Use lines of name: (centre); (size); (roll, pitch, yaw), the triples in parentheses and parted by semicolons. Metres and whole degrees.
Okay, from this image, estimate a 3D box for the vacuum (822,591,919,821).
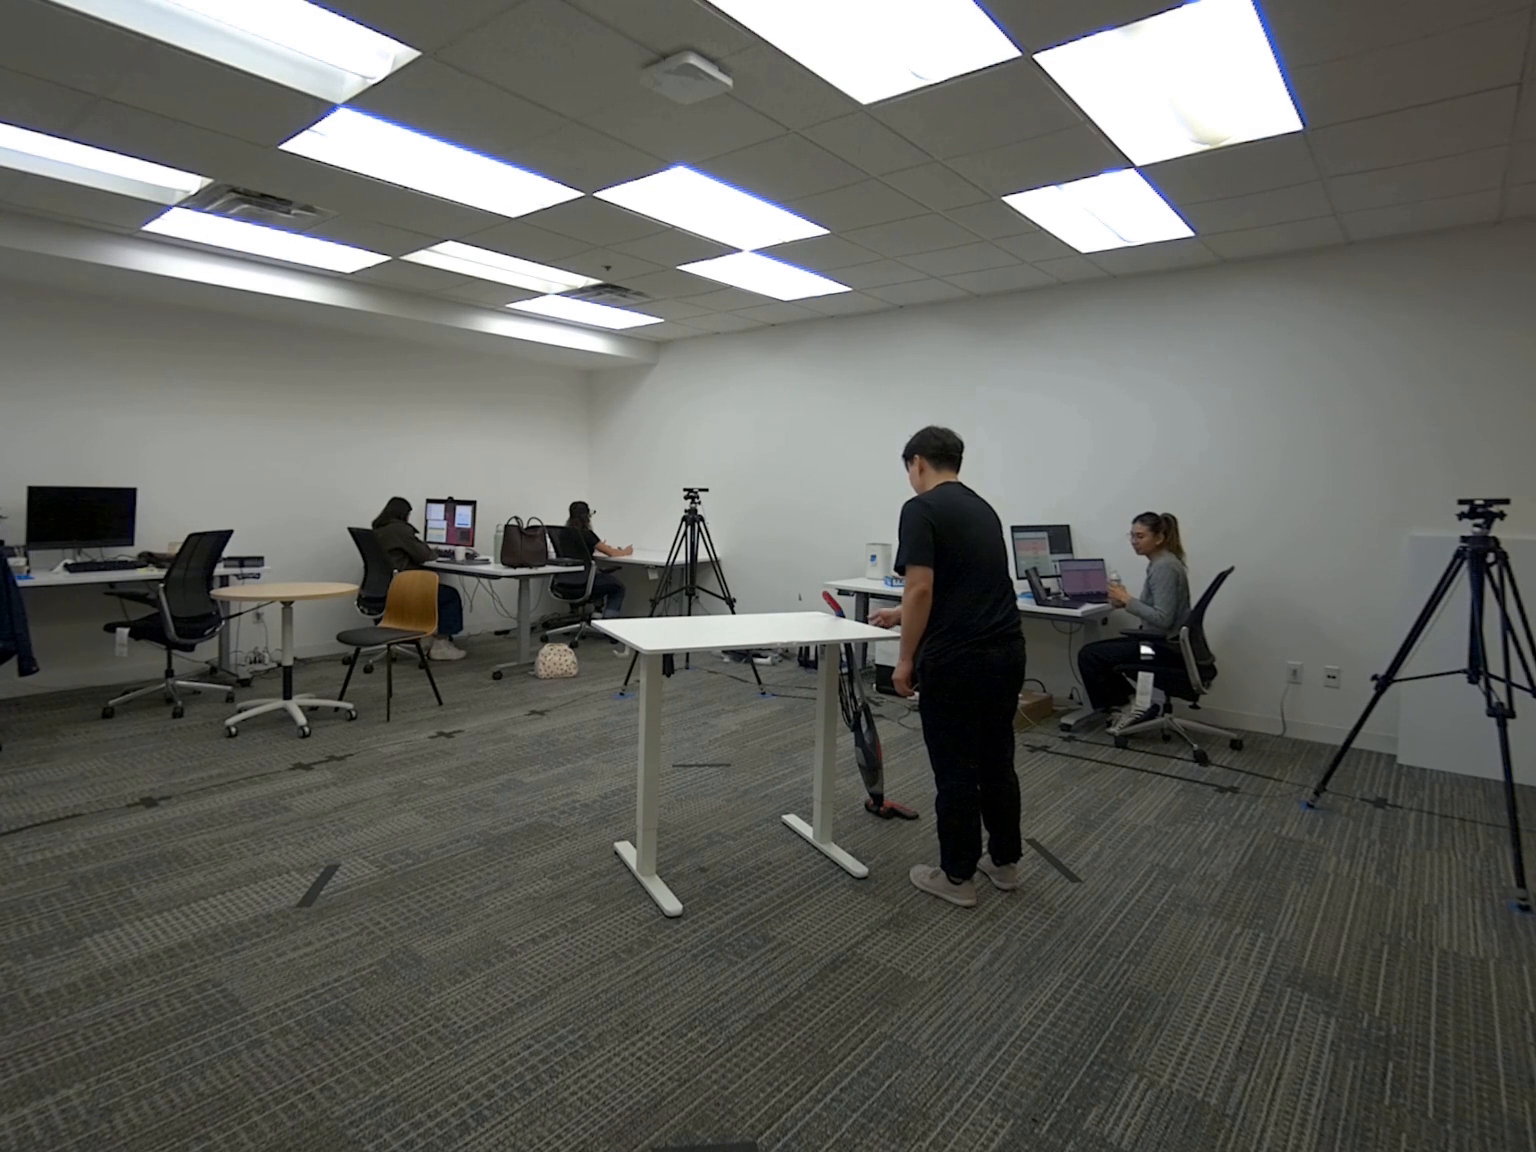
vacuum: (0.371, 0.551, 3.582); (0.142, 1.030, 0.261); (-28, 19, -35)
